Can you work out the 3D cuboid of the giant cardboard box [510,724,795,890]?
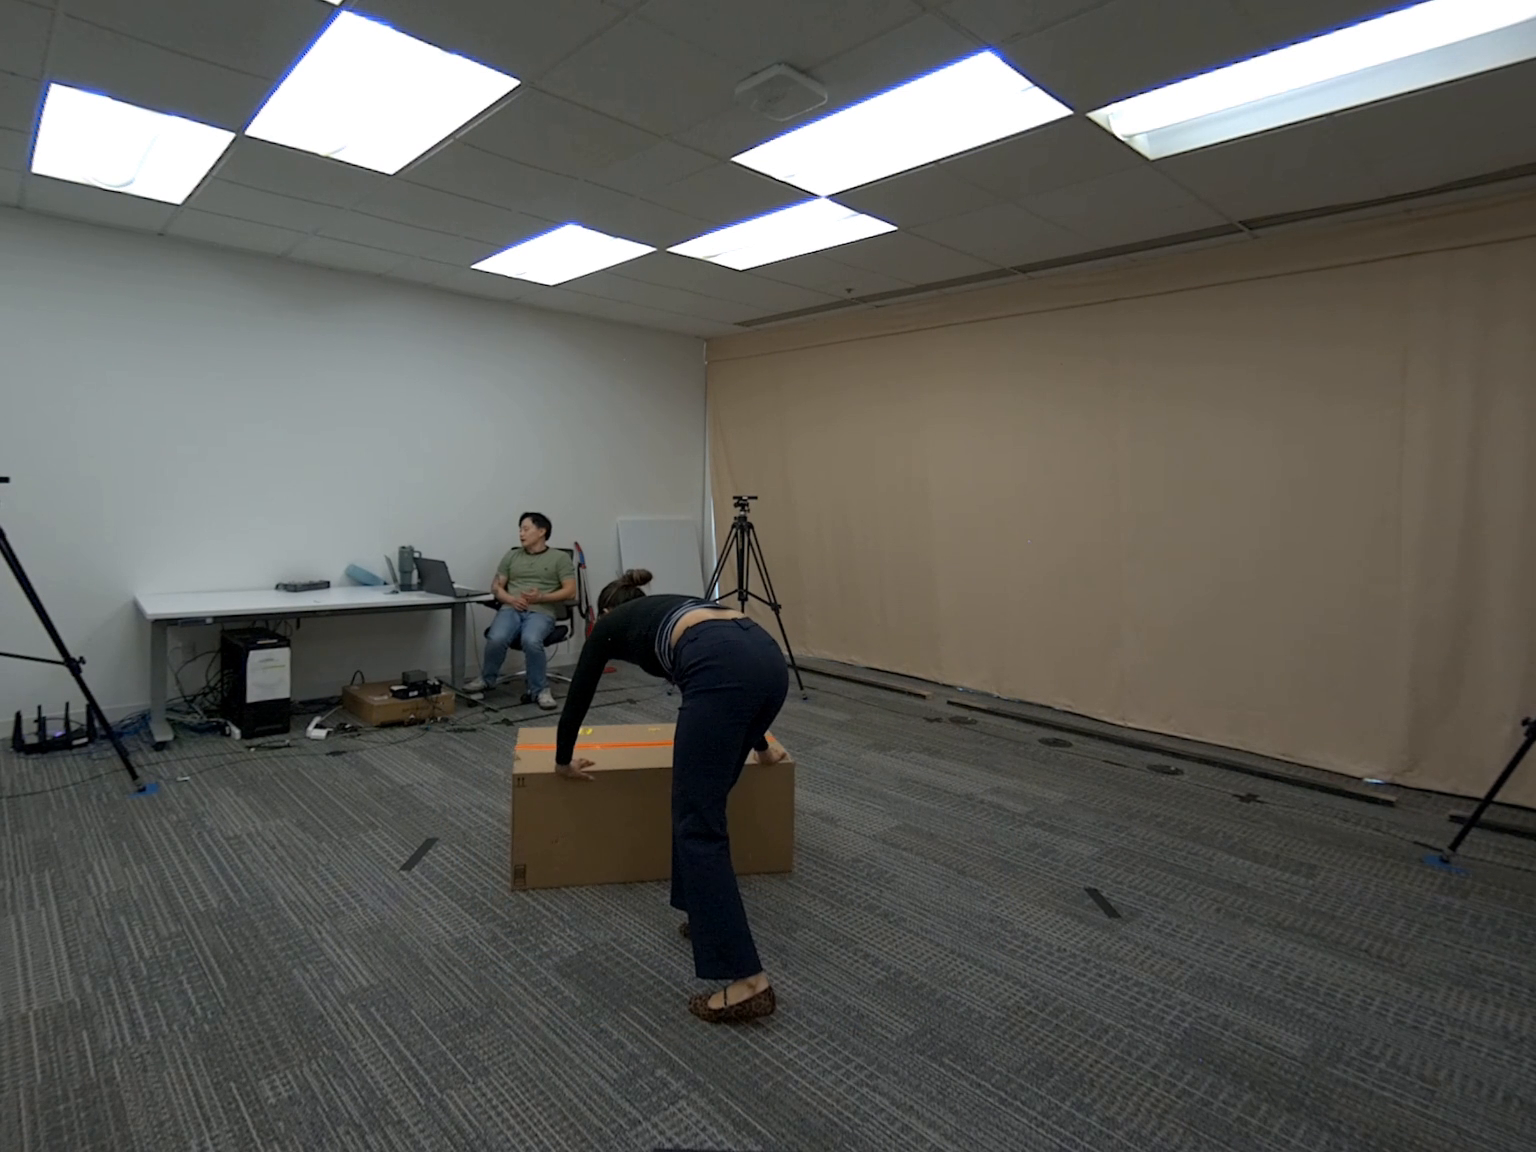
[{"bbox_3d":[-0.475,0.861,3.305,1.016,0.425,0.585,0,5,-13],"label":"giant cardboard box"}]
